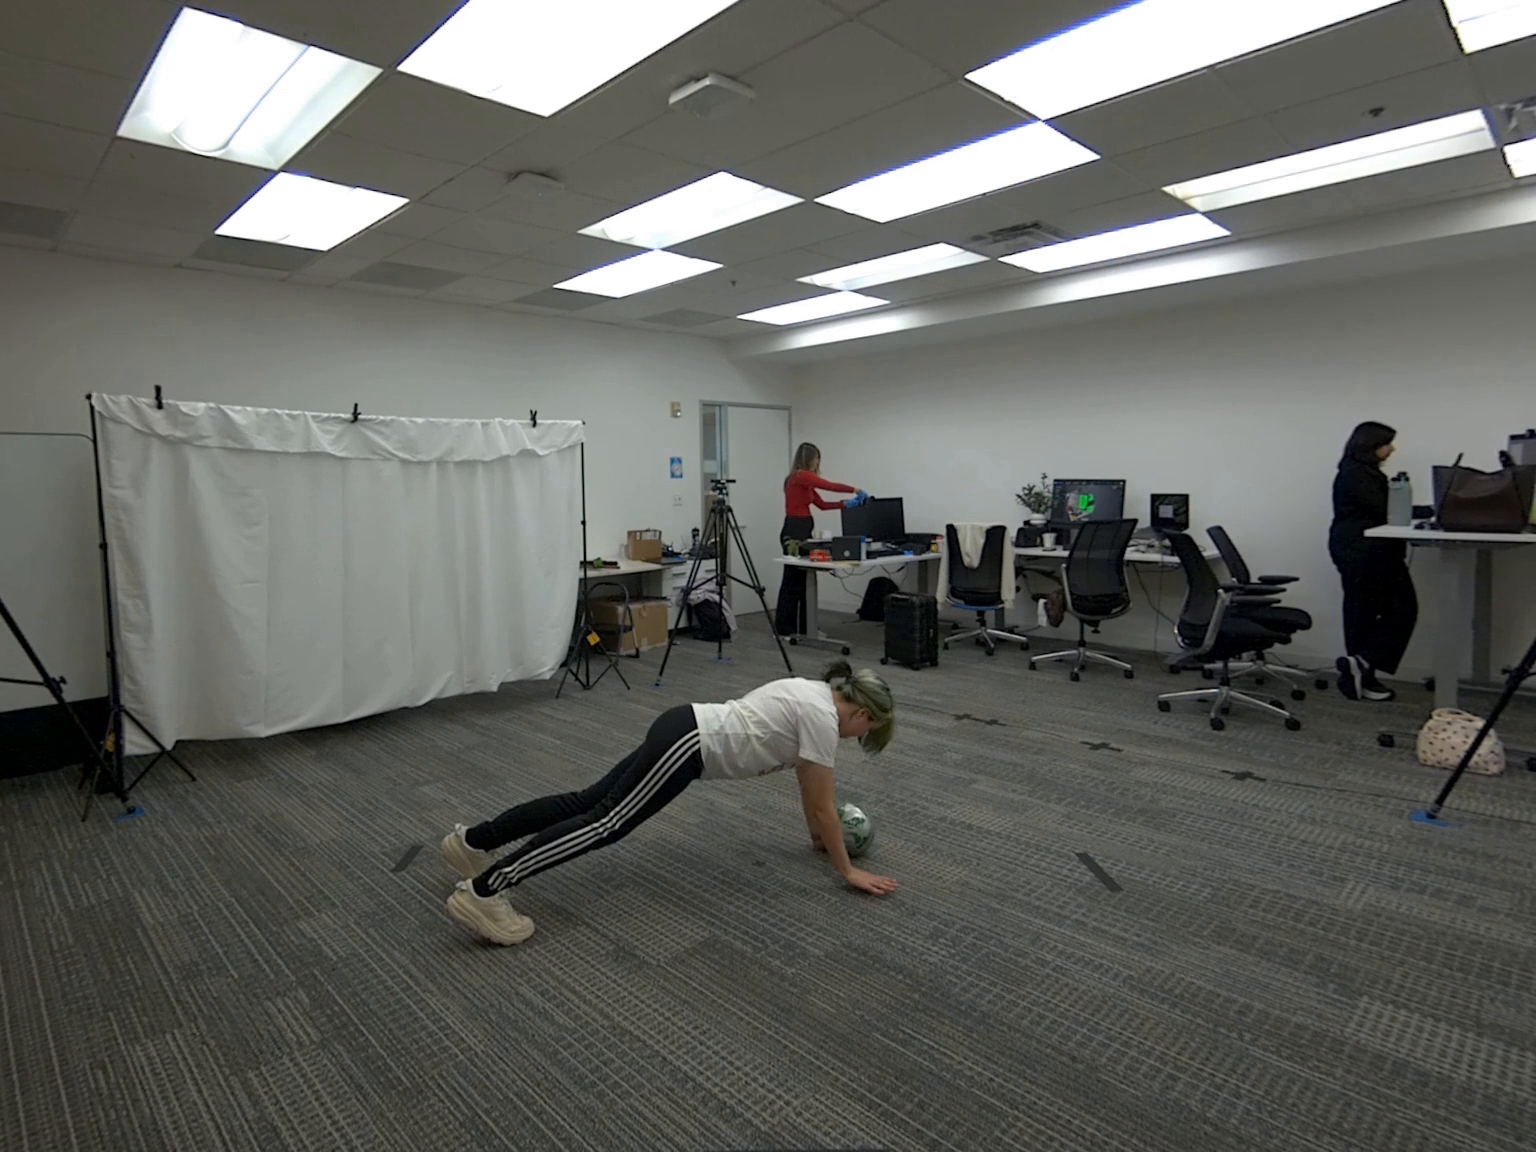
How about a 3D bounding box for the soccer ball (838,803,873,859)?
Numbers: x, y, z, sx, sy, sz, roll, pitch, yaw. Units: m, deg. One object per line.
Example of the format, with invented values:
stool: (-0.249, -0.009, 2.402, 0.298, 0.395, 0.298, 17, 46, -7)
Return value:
soccer ball: (0.308, 0.946, 3.174, 0.187, 0.187, 0.188, -1, 5, -2)
